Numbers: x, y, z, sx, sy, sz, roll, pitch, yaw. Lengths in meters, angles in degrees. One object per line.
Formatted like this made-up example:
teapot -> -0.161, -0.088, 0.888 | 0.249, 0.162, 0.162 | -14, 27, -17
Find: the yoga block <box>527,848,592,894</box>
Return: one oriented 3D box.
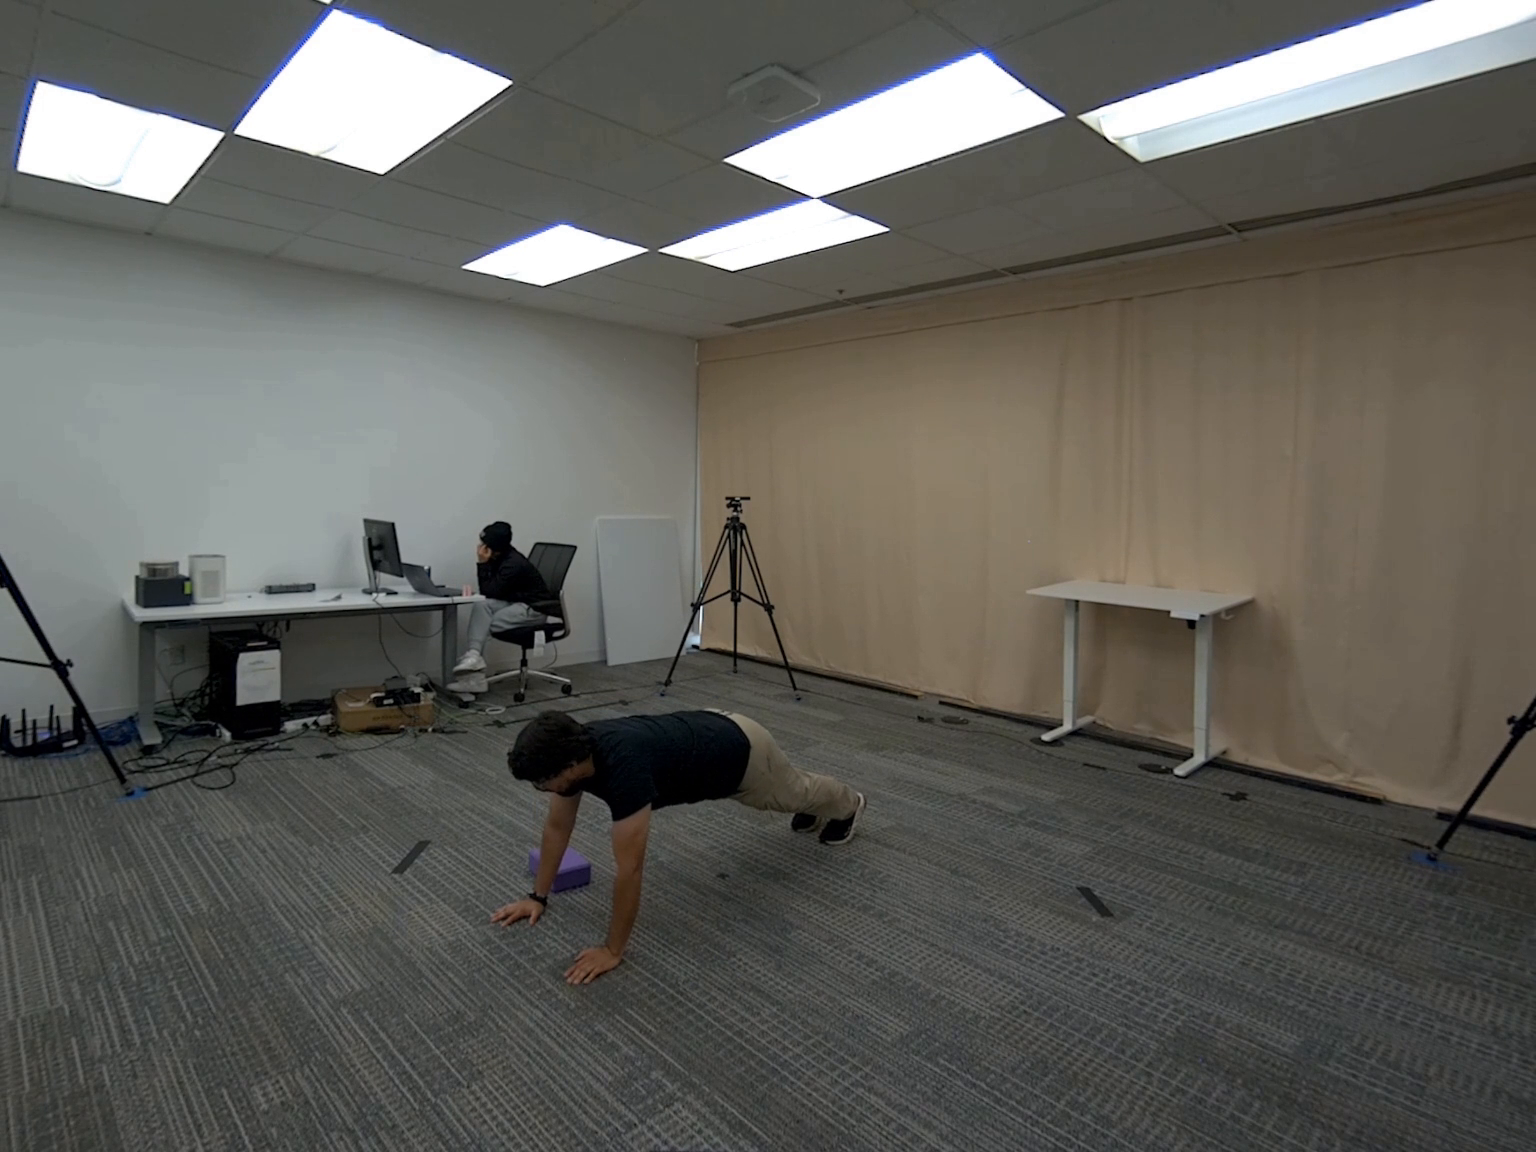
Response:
yoga block -> -0.764, 1.052, 3.062 | 0.146, 0.076, 0.235 | -3, 7, -38
